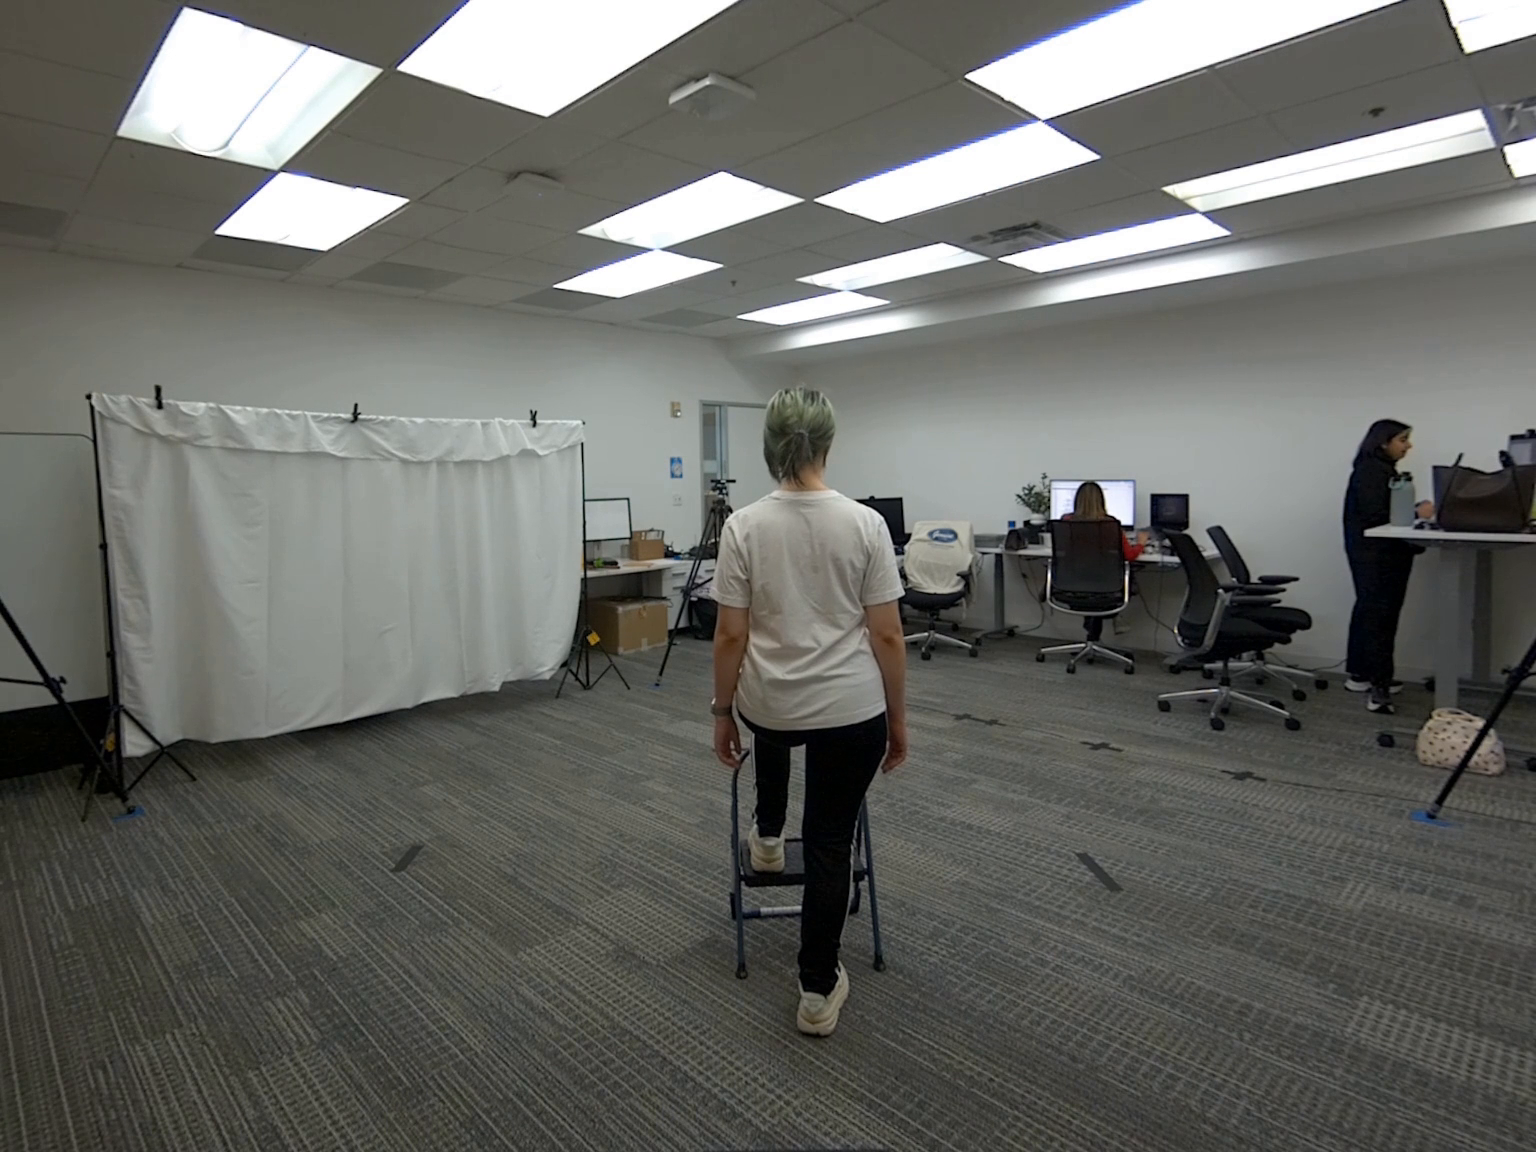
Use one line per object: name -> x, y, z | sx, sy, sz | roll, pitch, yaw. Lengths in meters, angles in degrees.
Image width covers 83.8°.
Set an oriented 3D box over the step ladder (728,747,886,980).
step ladder -> 0.106, 0.810, 2.565 | 0.429, 0.604, 0.352 | -1, 4, -5
